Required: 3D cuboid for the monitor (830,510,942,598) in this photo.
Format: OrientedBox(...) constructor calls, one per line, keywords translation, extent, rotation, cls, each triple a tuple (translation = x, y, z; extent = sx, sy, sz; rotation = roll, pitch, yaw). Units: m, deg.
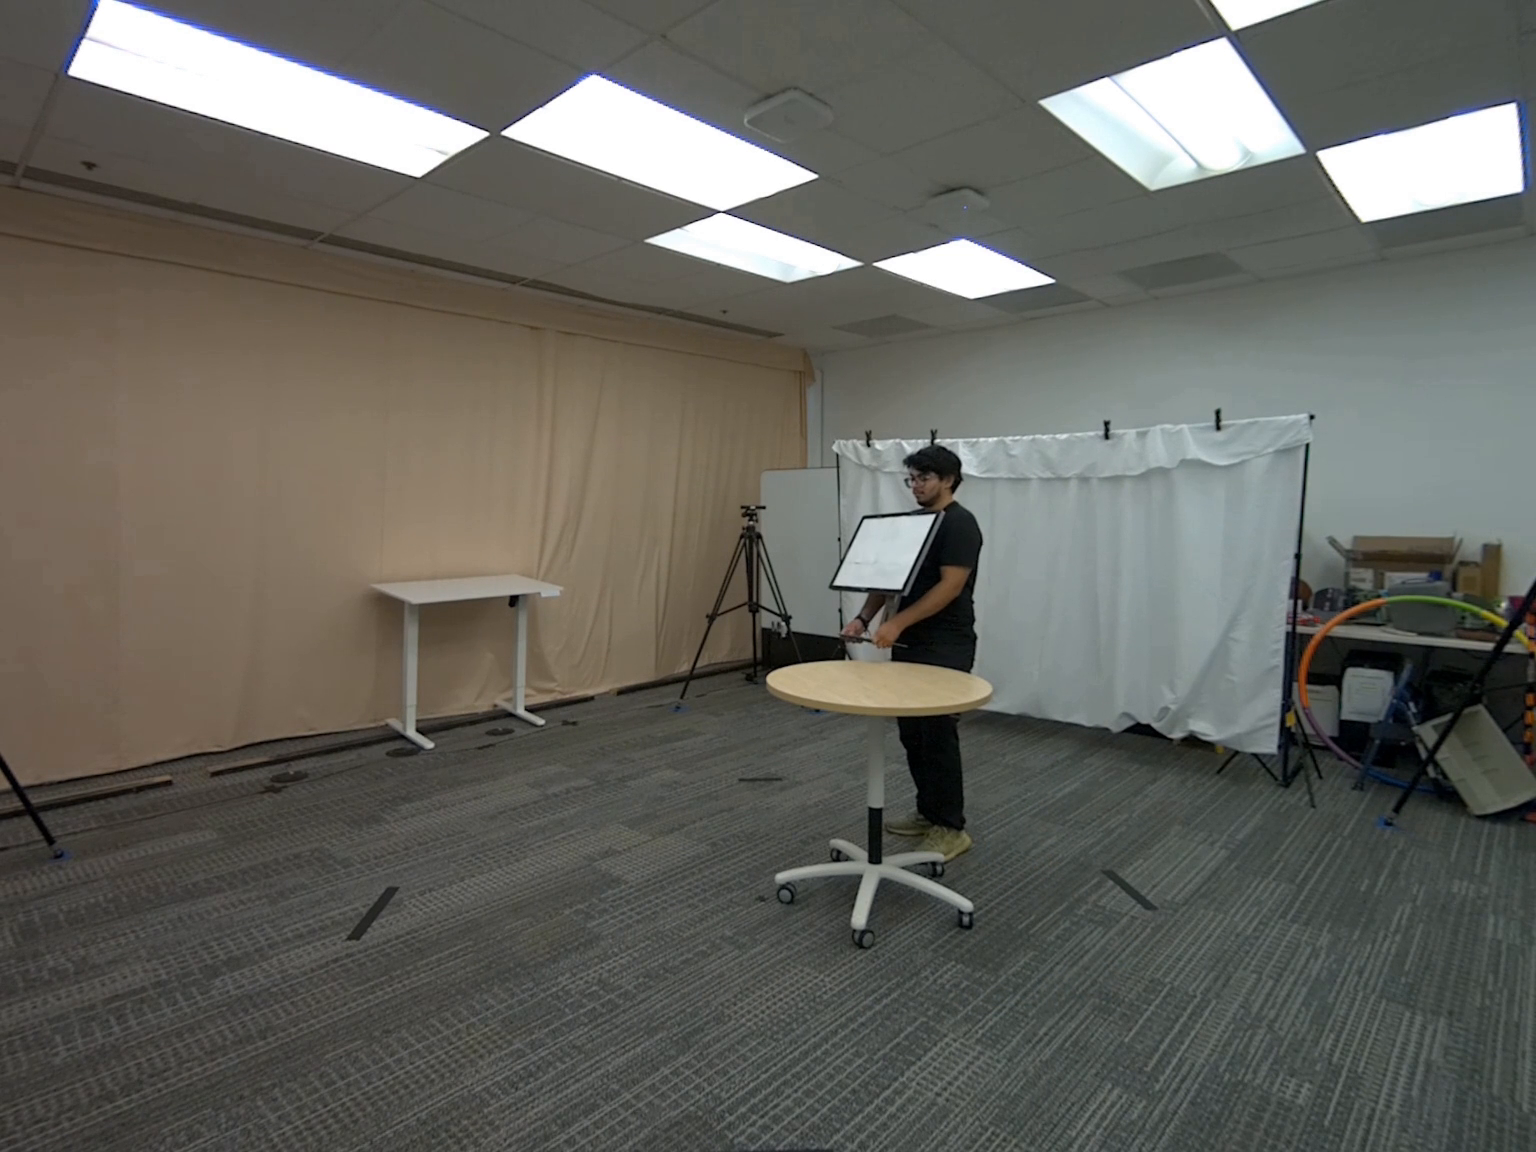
OrientedBox(translation=(0.500, 0.021, 3.435), extent=(0.205, 0.555, 0.579), rotation=(24, -10, -23), cls="monitor")
